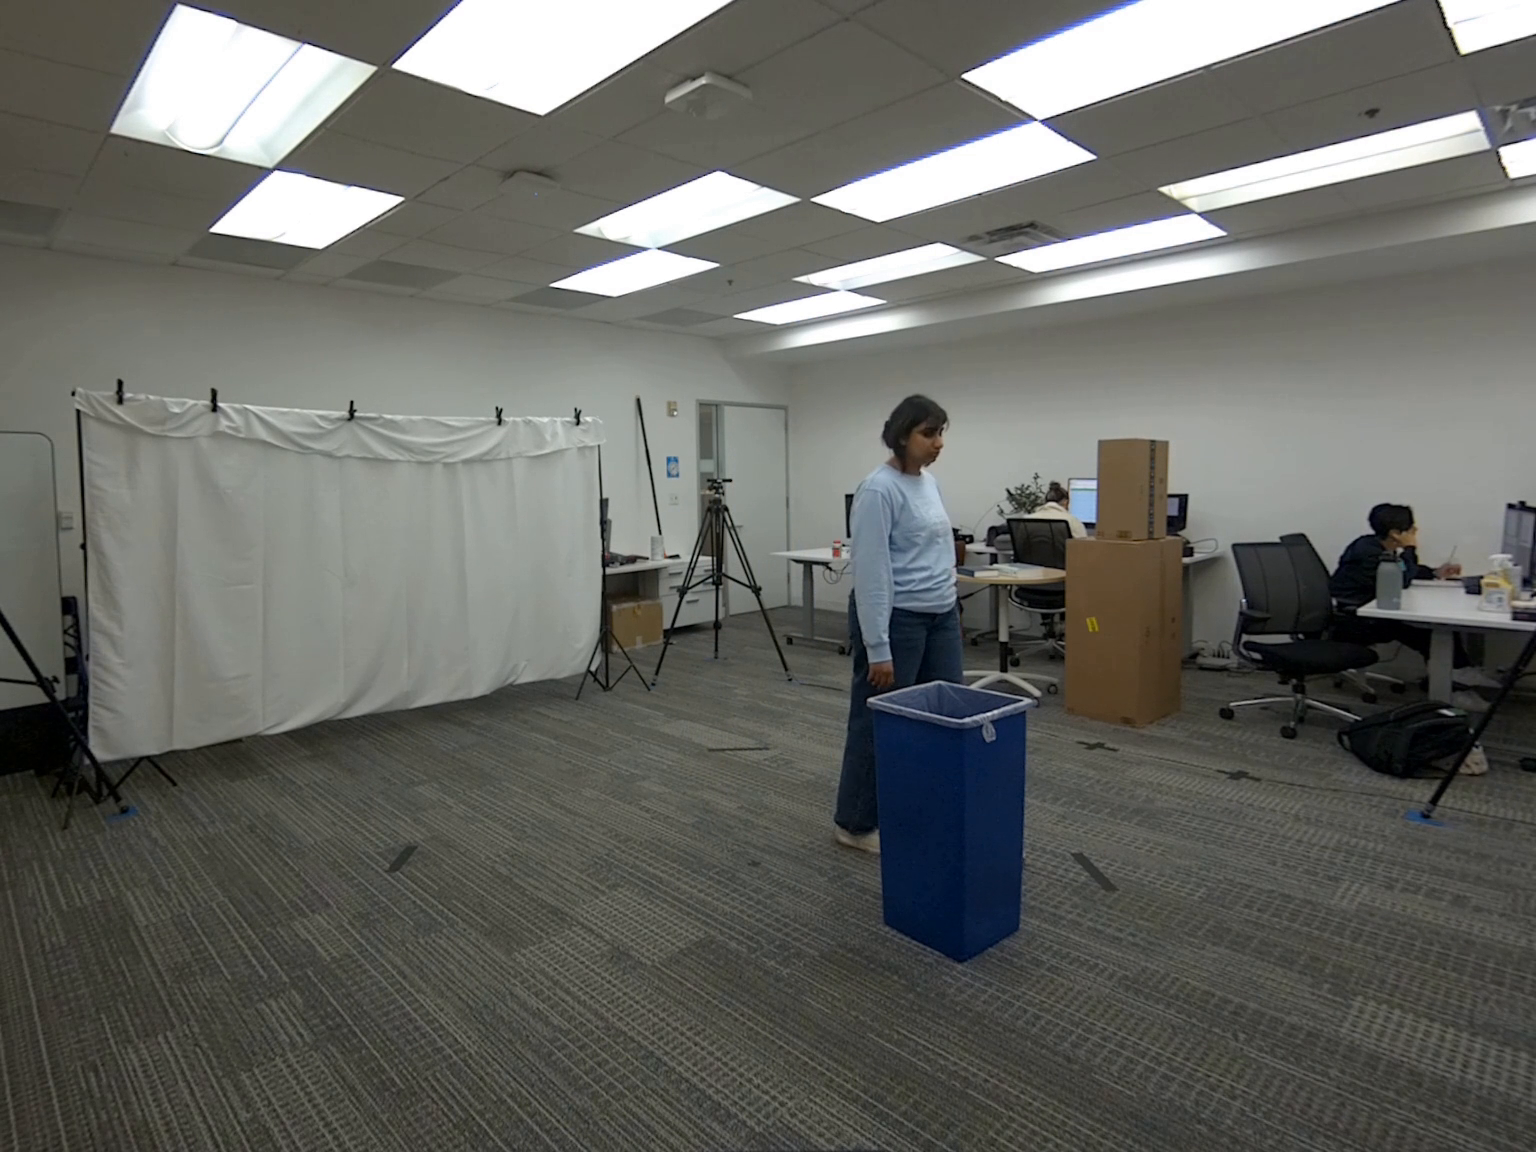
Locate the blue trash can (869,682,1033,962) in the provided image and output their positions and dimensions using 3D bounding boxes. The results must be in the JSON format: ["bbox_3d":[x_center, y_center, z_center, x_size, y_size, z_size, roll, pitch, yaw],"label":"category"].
[{"bbox_3d":[0.563,0.732,2.641,0.364,0.711,0.389,-4,5,-41],"label":"blue trash can"}]
